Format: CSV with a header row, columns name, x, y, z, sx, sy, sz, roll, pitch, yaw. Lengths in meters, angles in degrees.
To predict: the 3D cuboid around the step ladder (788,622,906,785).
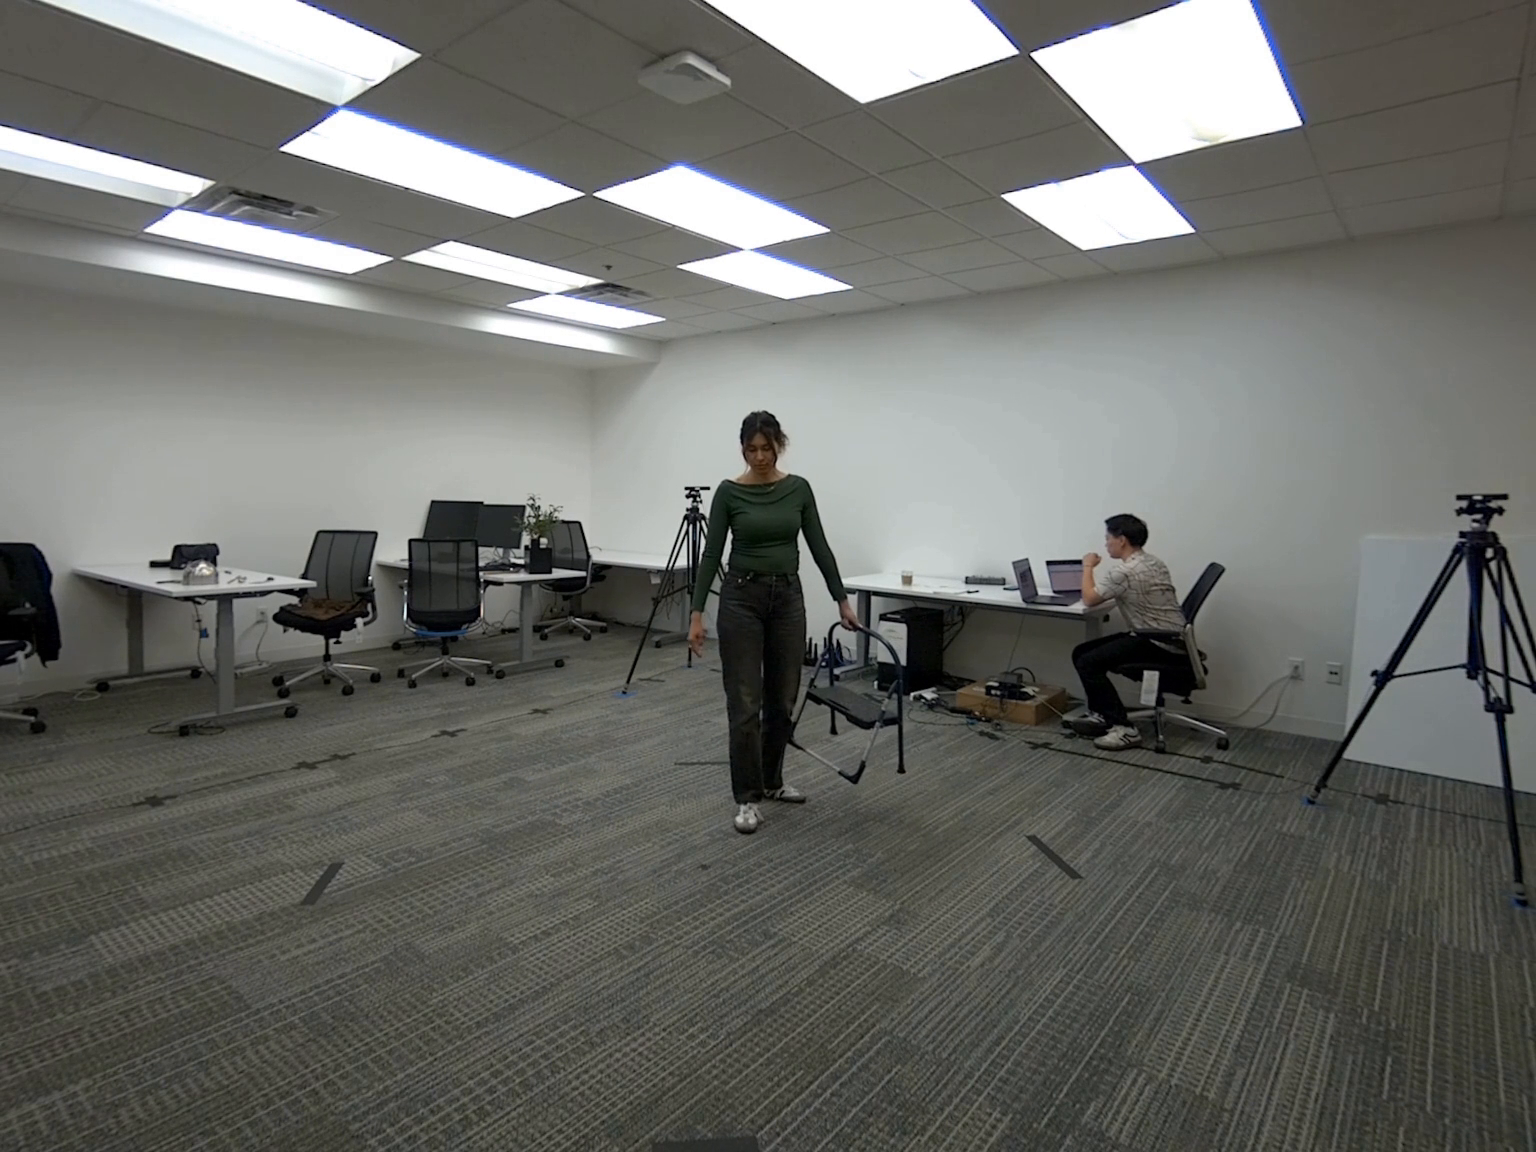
name,x,y,z,sx,sy,sz,roll,pitch,yaw
step ladder,0.384,0.502,3.680,0.338,0.601,0.448,1,14,-44
